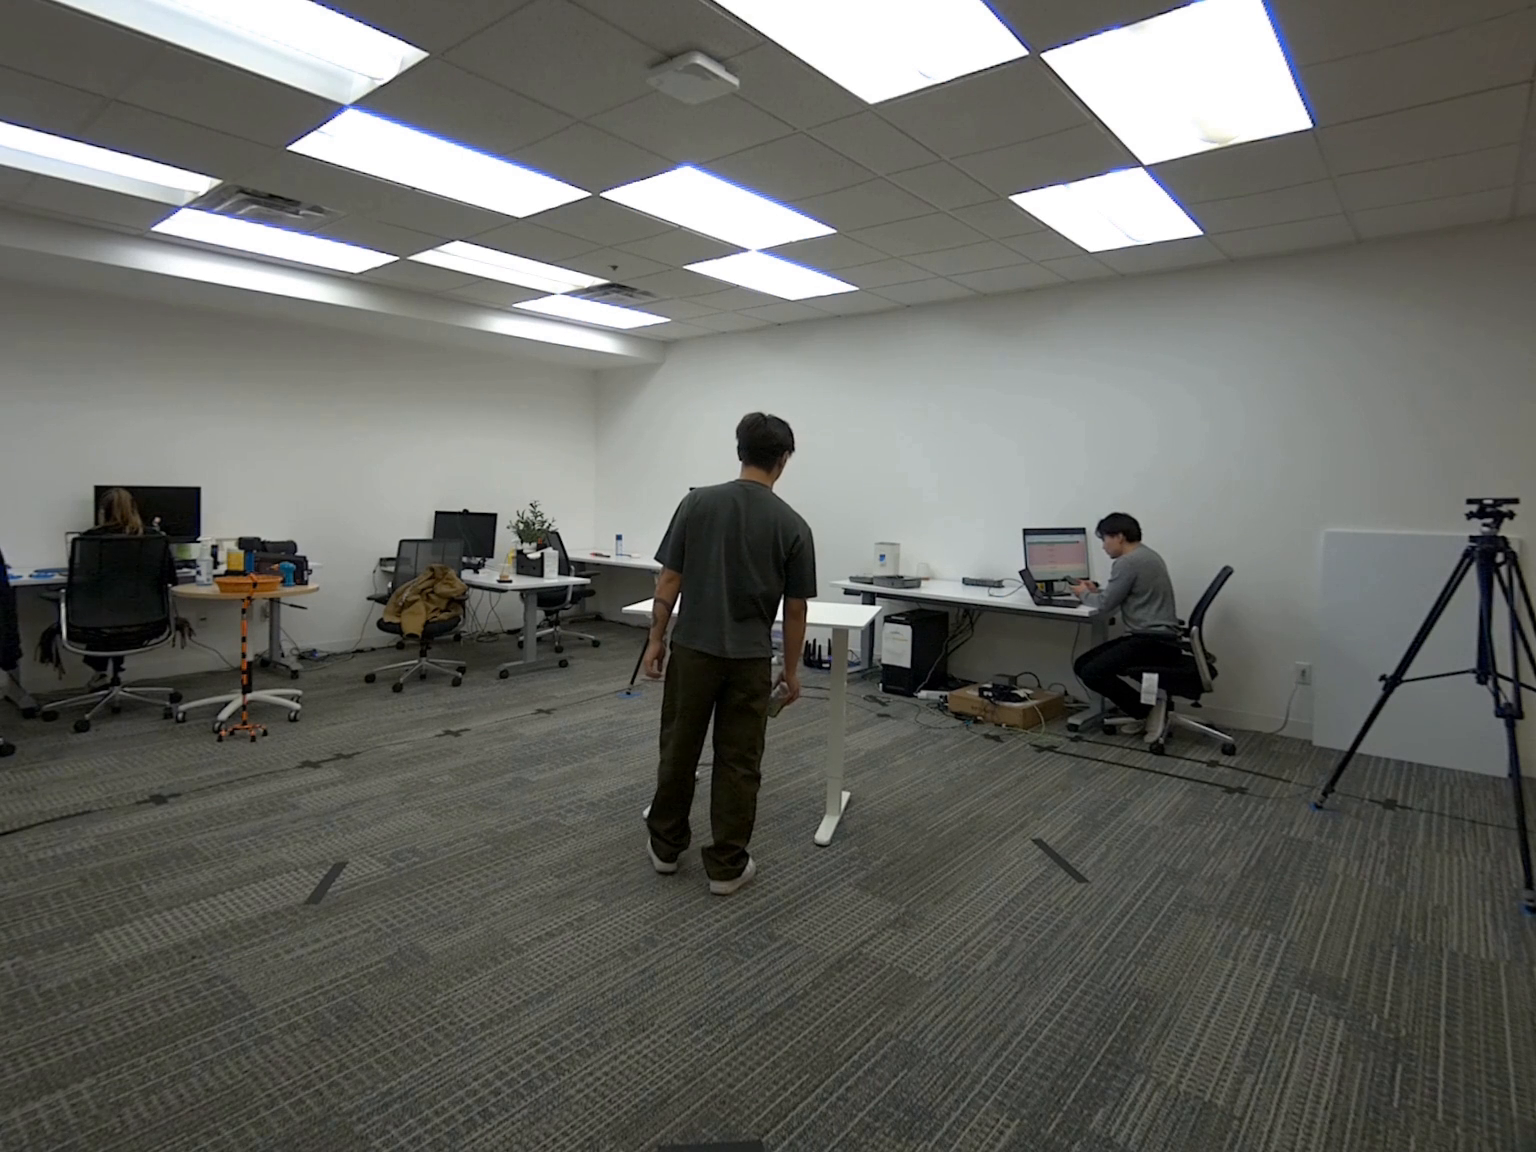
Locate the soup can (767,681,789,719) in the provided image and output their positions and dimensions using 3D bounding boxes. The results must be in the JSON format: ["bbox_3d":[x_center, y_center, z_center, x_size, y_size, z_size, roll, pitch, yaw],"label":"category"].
[{"bbox_3d":[0.029,0.455,3.142,0.066,0.121,0.068,24,15,-9],"label":"soup can"}]
